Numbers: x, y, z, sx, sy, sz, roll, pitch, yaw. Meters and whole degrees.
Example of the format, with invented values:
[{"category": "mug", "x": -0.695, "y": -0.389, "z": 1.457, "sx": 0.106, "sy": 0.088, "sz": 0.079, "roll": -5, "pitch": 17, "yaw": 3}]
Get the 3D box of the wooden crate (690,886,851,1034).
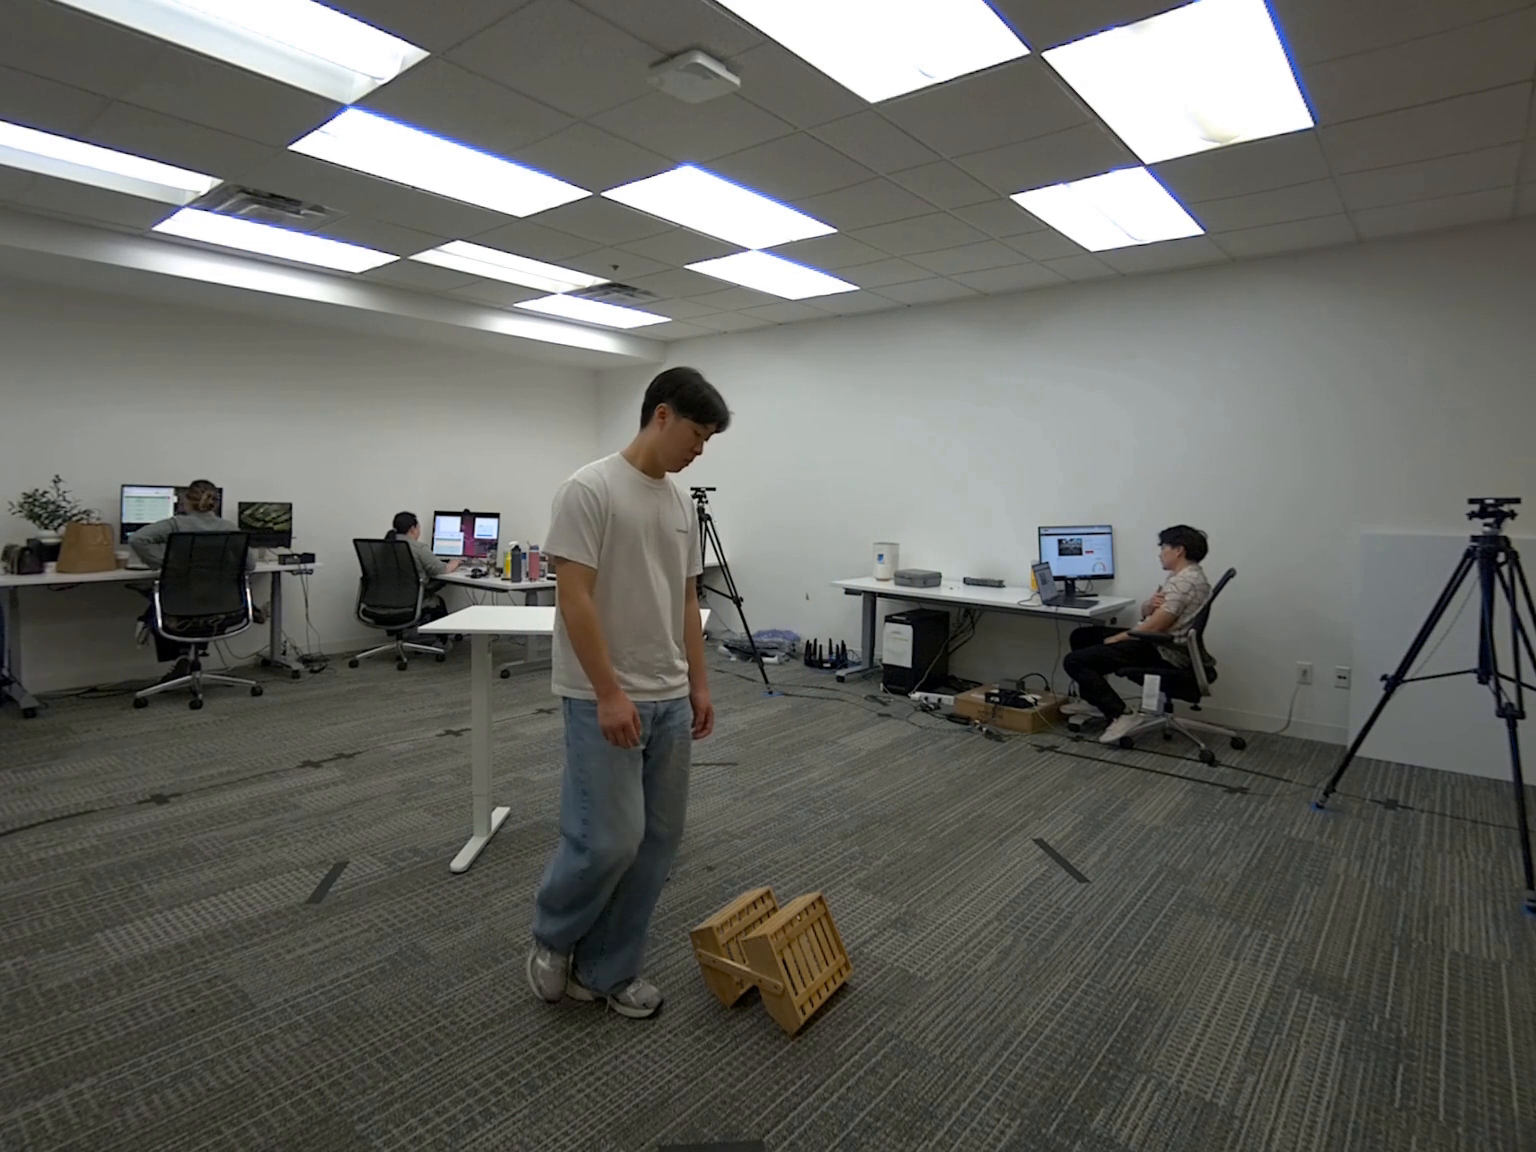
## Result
[{"category": "wooden crate", "x": 0.003, "y": 1.058, "z": 2.366, "sx": 0.276, "sy": 0.307, "sz": 0.316, "roll": -29, "pitch": -12, "yaw": 31}]
